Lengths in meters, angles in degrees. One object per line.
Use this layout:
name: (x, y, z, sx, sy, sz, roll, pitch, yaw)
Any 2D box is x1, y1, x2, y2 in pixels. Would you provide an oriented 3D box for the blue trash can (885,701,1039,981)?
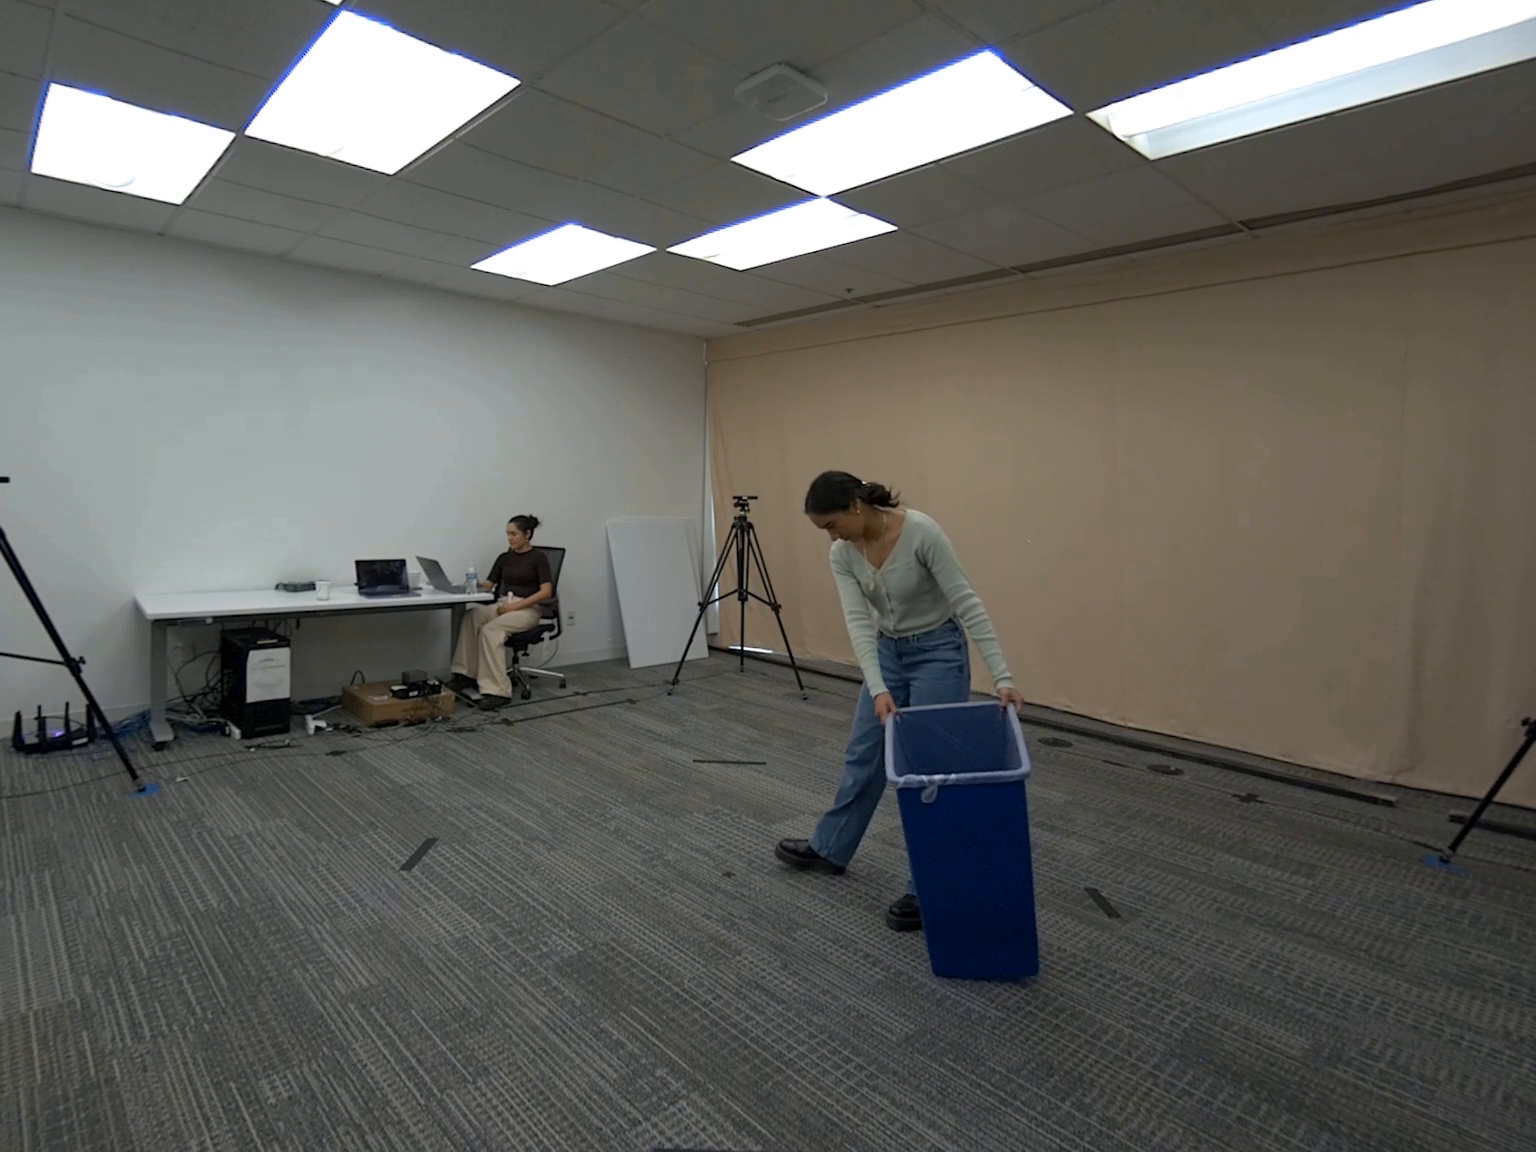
blue trash can: (0.574, 0.784, 2.472, 0.382, 0.702, 0.376, -7, 19, 14)
